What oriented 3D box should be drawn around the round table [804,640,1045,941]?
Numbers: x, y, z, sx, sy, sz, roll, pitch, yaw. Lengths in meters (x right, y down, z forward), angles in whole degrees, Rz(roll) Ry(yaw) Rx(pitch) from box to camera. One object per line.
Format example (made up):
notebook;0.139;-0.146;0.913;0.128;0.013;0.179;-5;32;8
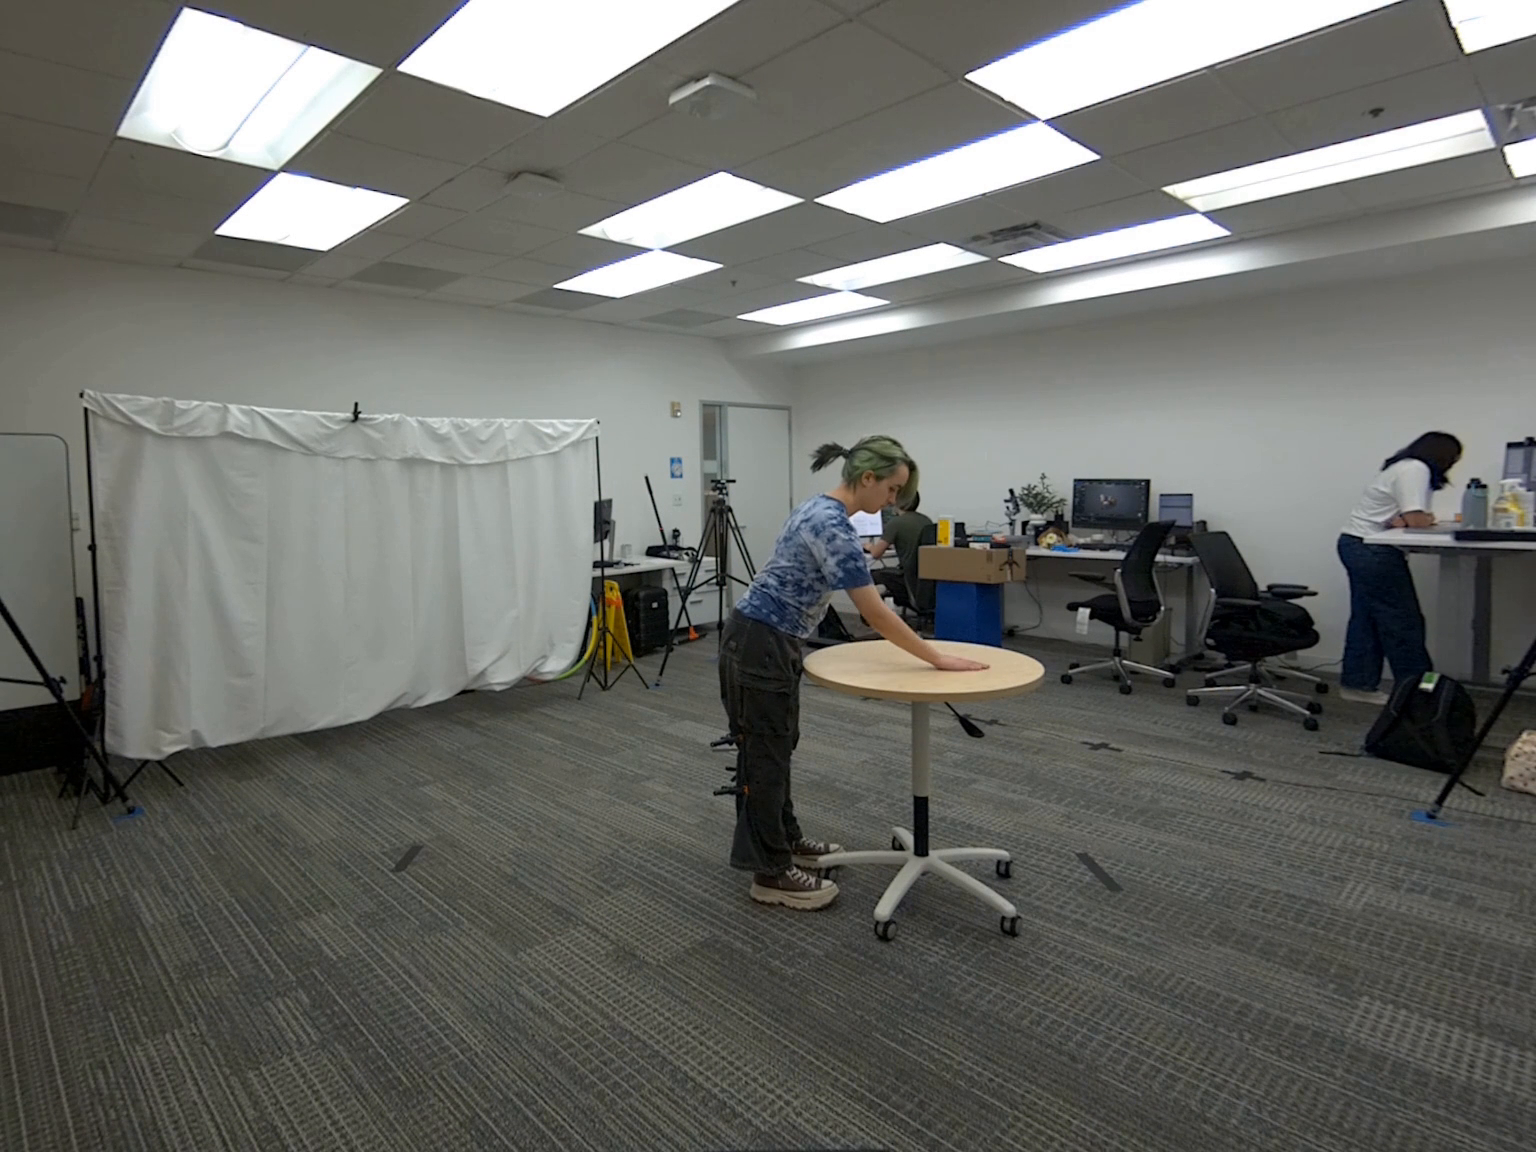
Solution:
round table;0.496;0.674;2.818;0.784;0.783;0.789;-1;5;-2
